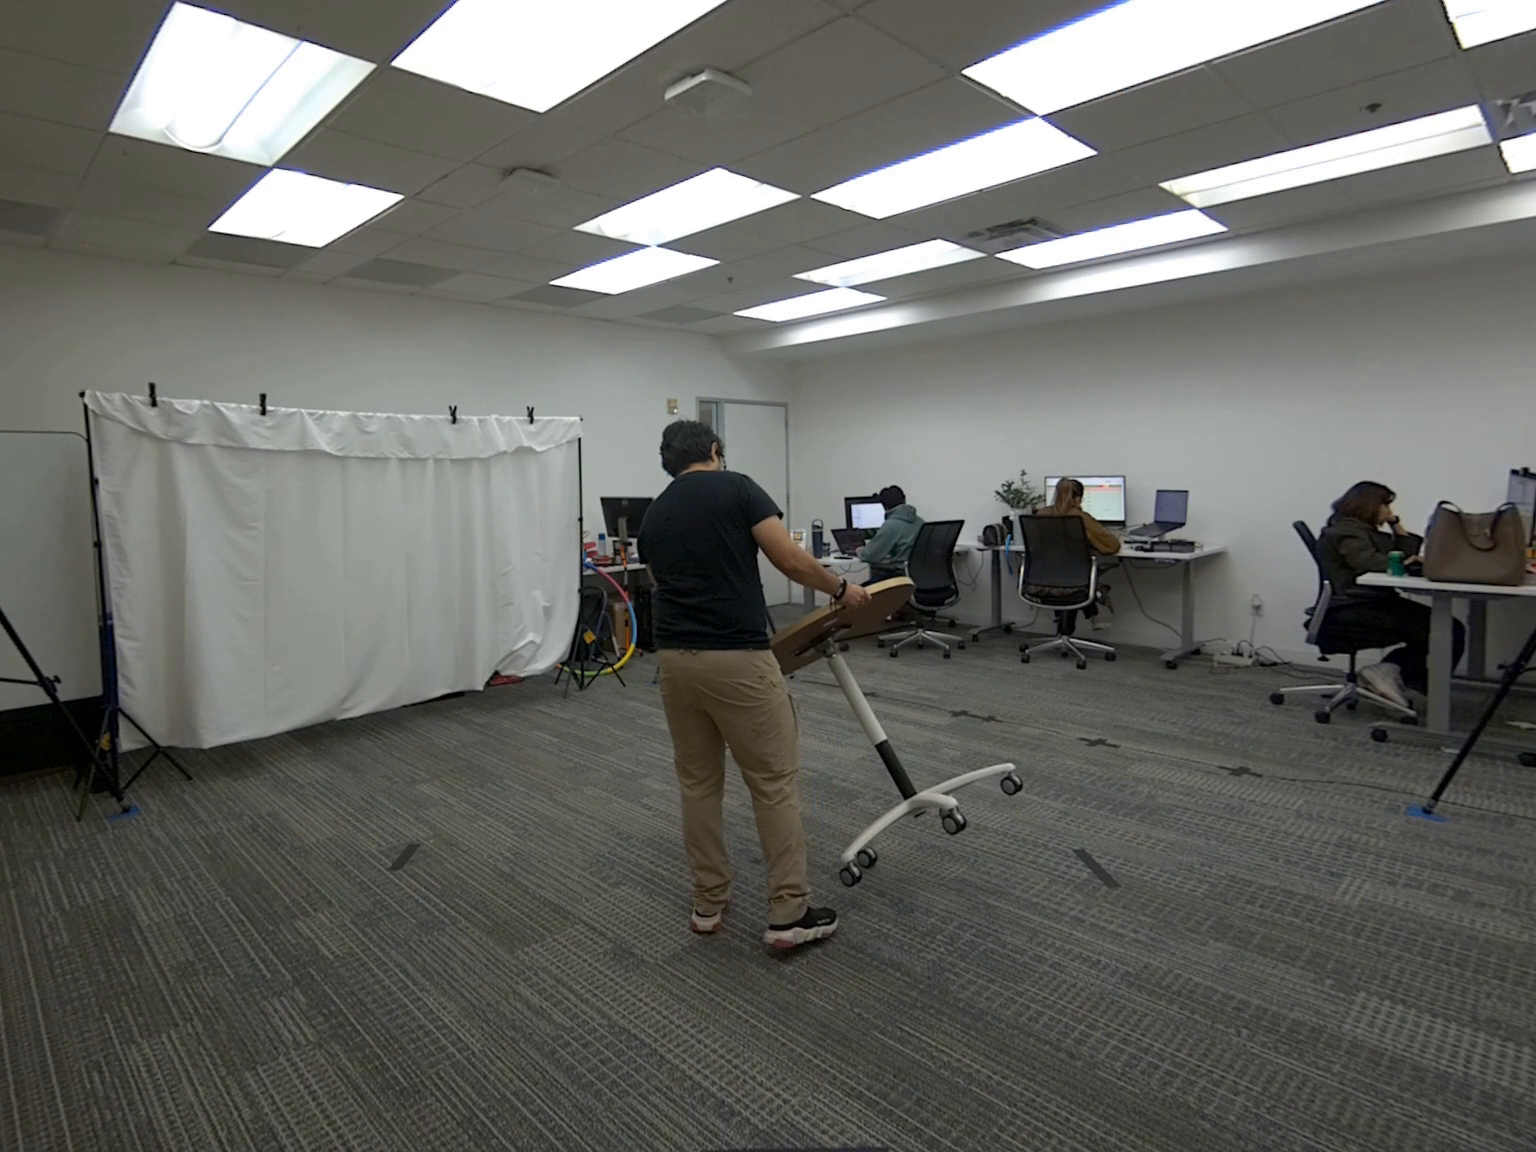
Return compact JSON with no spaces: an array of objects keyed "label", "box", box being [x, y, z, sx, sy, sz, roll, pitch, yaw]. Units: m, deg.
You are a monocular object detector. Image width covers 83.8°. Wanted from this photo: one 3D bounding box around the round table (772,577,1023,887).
[{"label":"round table","box":[0.387,0.533,2.980,0.781,0.804,0.772,-26,-17,-10]}]
